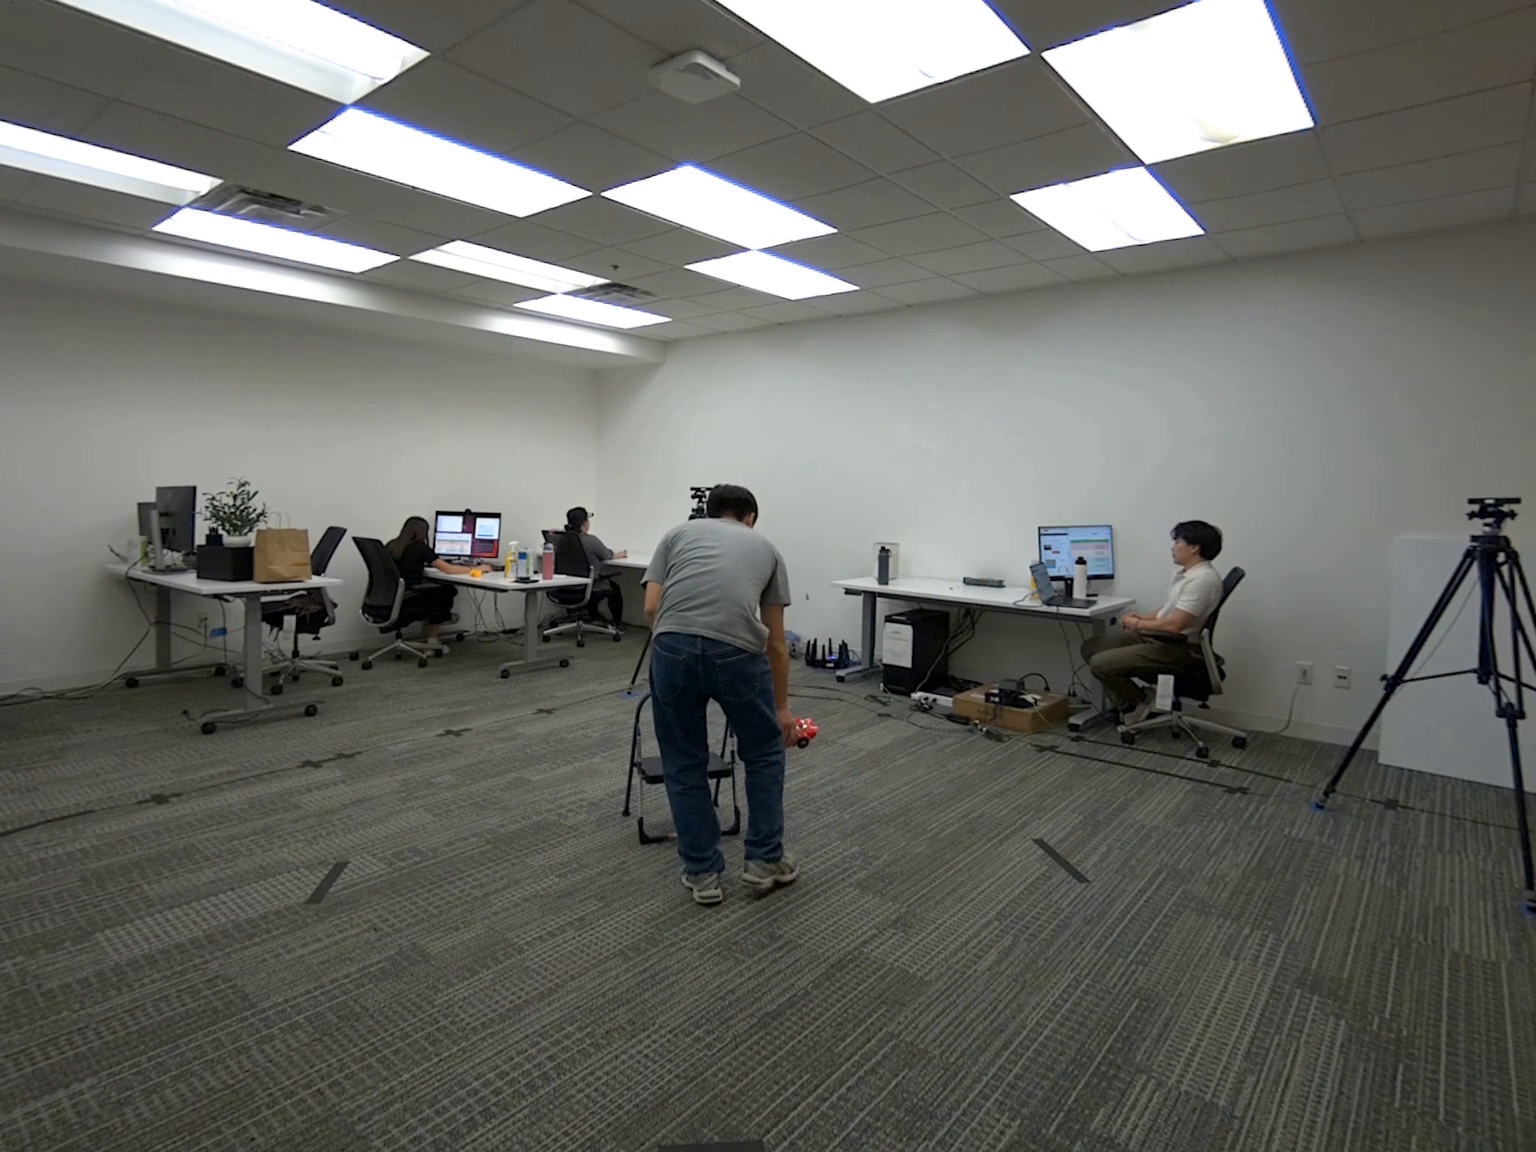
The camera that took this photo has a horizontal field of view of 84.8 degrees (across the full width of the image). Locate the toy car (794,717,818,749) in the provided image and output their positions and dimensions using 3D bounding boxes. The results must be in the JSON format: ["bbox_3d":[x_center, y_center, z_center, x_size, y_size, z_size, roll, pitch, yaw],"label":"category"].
[{"bbox_3d":[0.058,0.613,3.203,0.253,0.081,0.135,-22,27,-7],"label":"toy car"}]
